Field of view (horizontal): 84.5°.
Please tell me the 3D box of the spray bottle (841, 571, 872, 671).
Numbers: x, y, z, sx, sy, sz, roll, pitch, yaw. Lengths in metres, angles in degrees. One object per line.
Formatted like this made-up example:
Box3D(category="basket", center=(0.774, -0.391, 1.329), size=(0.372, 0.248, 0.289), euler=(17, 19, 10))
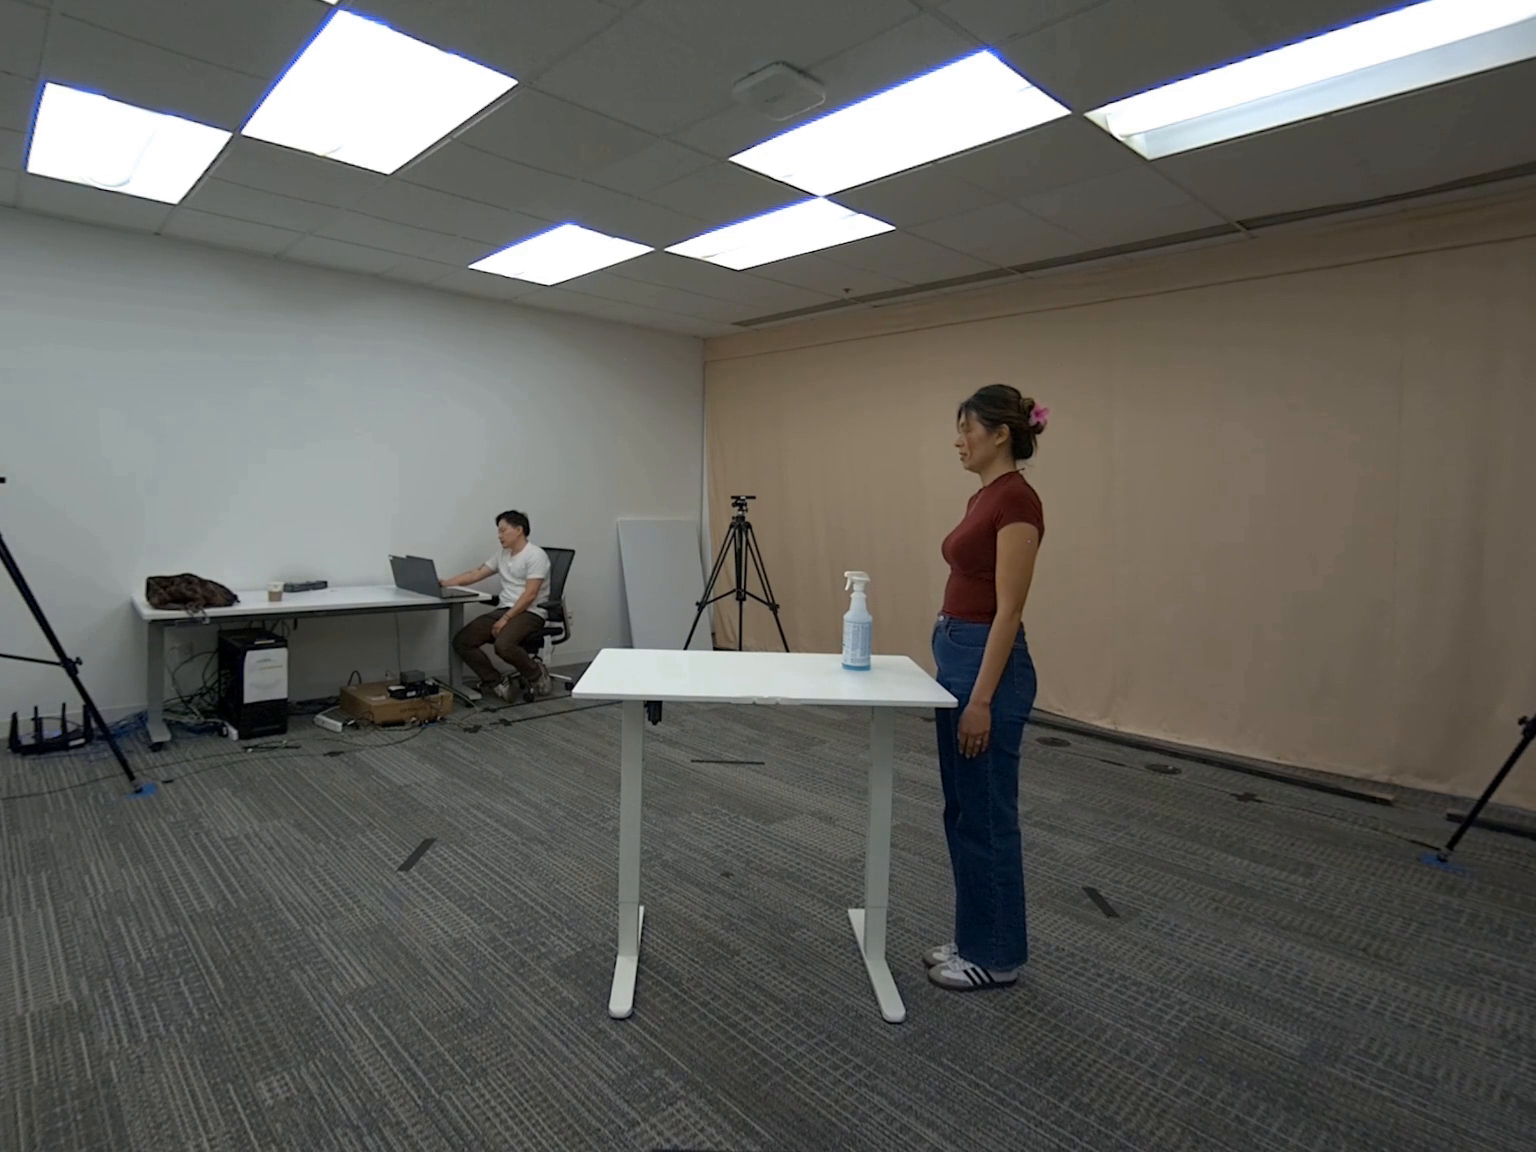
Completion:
Box3D(category="spray bottle", center=(0.268, 0.134, 2.560), size=(0.090, 0.296, 0.087), euler=(-1, 4, -3))
